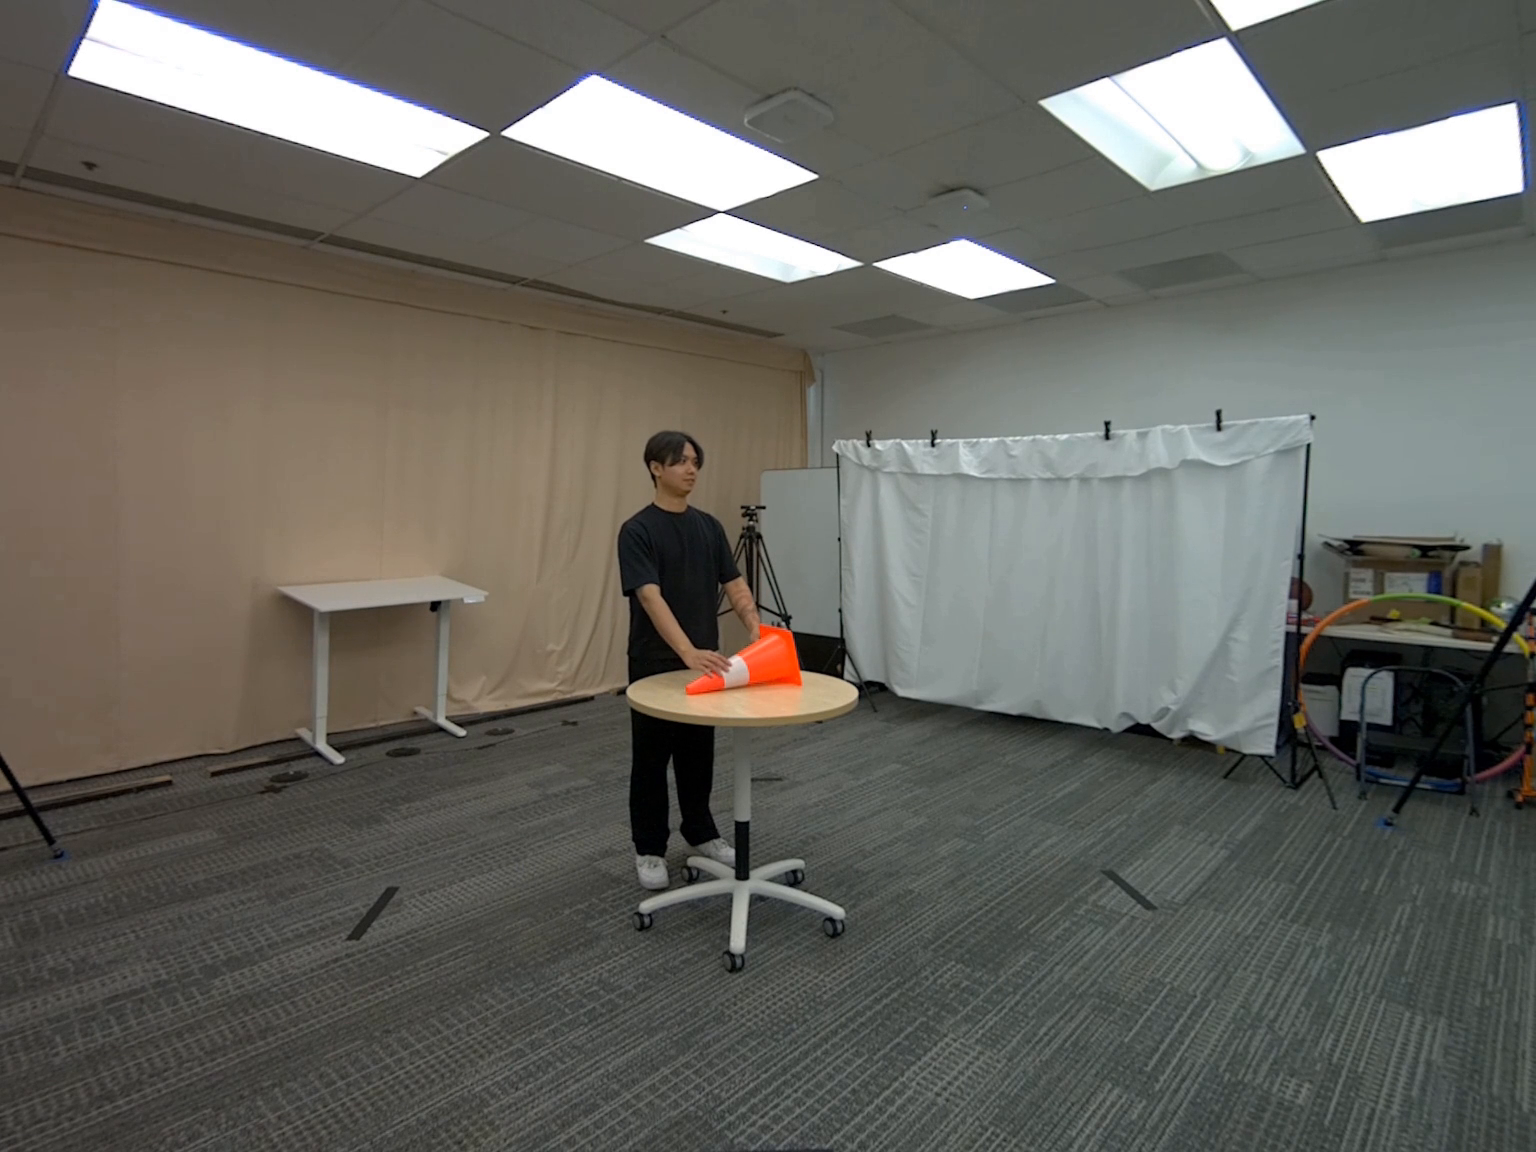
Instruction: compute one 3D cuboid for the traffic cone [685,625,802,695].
[{"bbox_3d":[-0.112,0.324,2.807,0.375,0.203,0.210,-17,13,-33],"label":"traffic cone"}]
